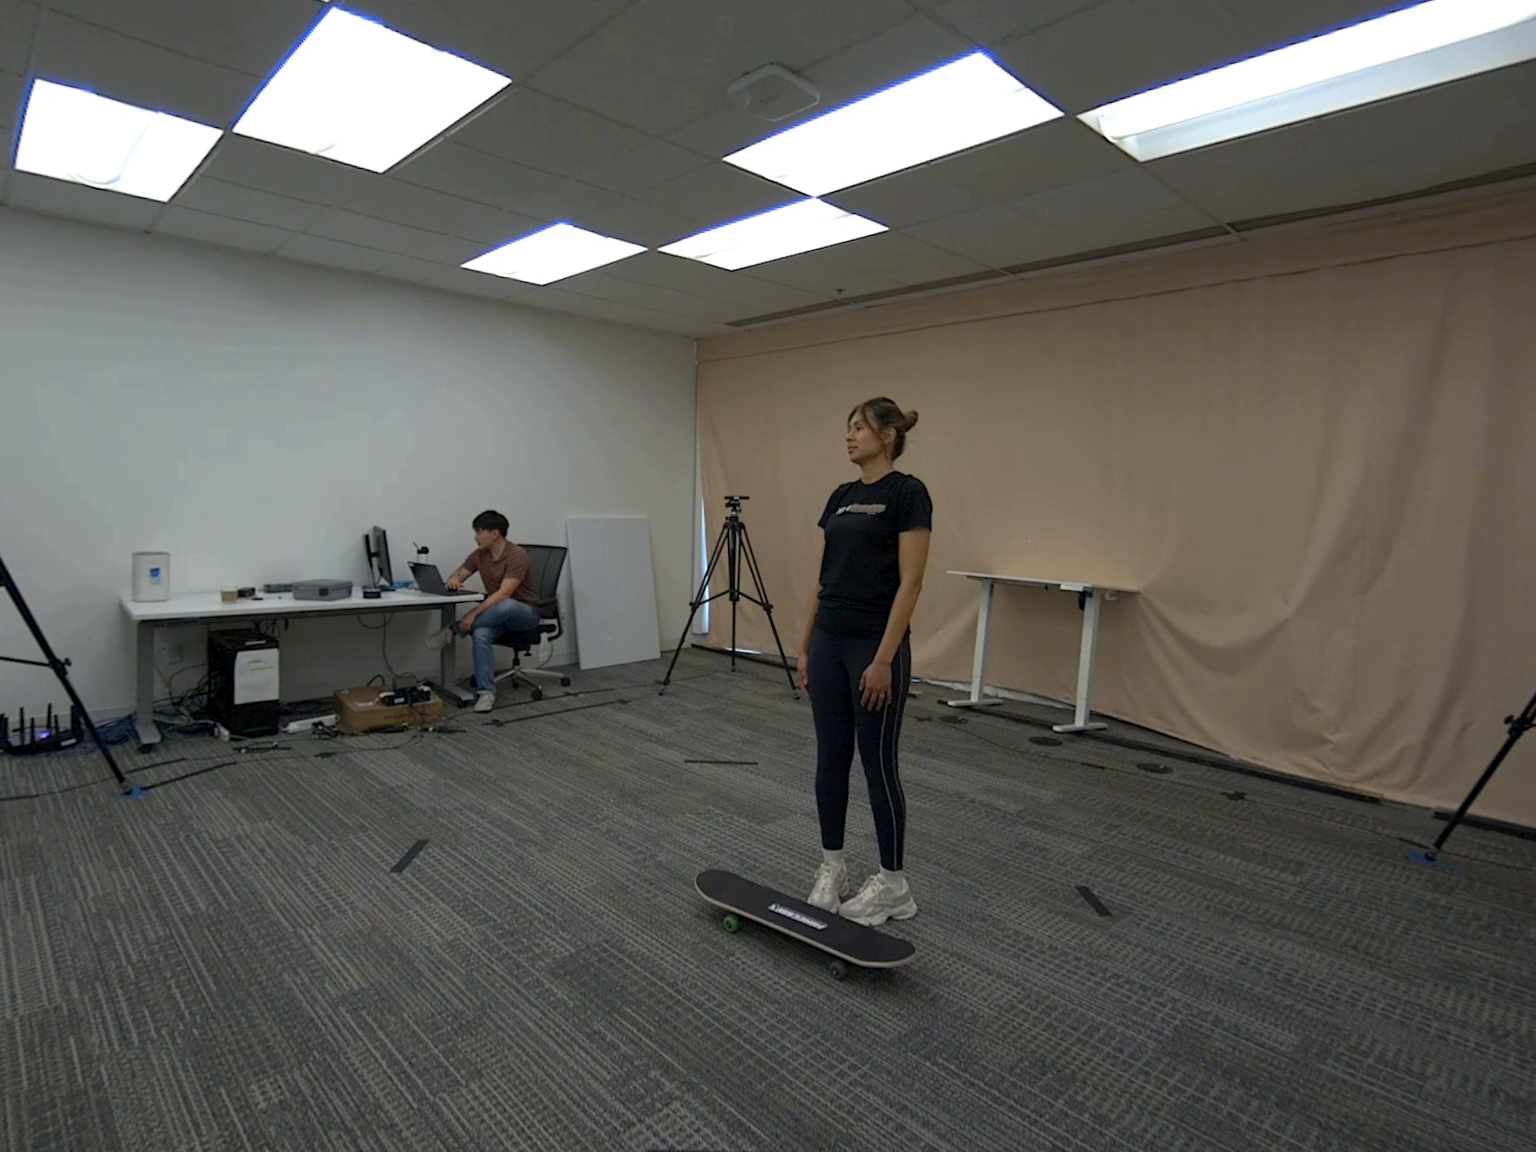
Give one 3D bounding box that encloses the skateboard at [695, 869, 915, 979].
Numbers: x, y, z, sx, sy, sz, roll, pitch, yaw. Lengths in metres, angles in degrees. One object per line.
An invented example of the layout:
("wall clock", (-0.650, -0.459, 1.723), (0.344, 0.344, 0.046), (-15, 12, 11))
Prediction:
("skateboard", (0.083, 1.095, 2.633), (0.805, 0.110, 0.189), (6, 6, 37))
